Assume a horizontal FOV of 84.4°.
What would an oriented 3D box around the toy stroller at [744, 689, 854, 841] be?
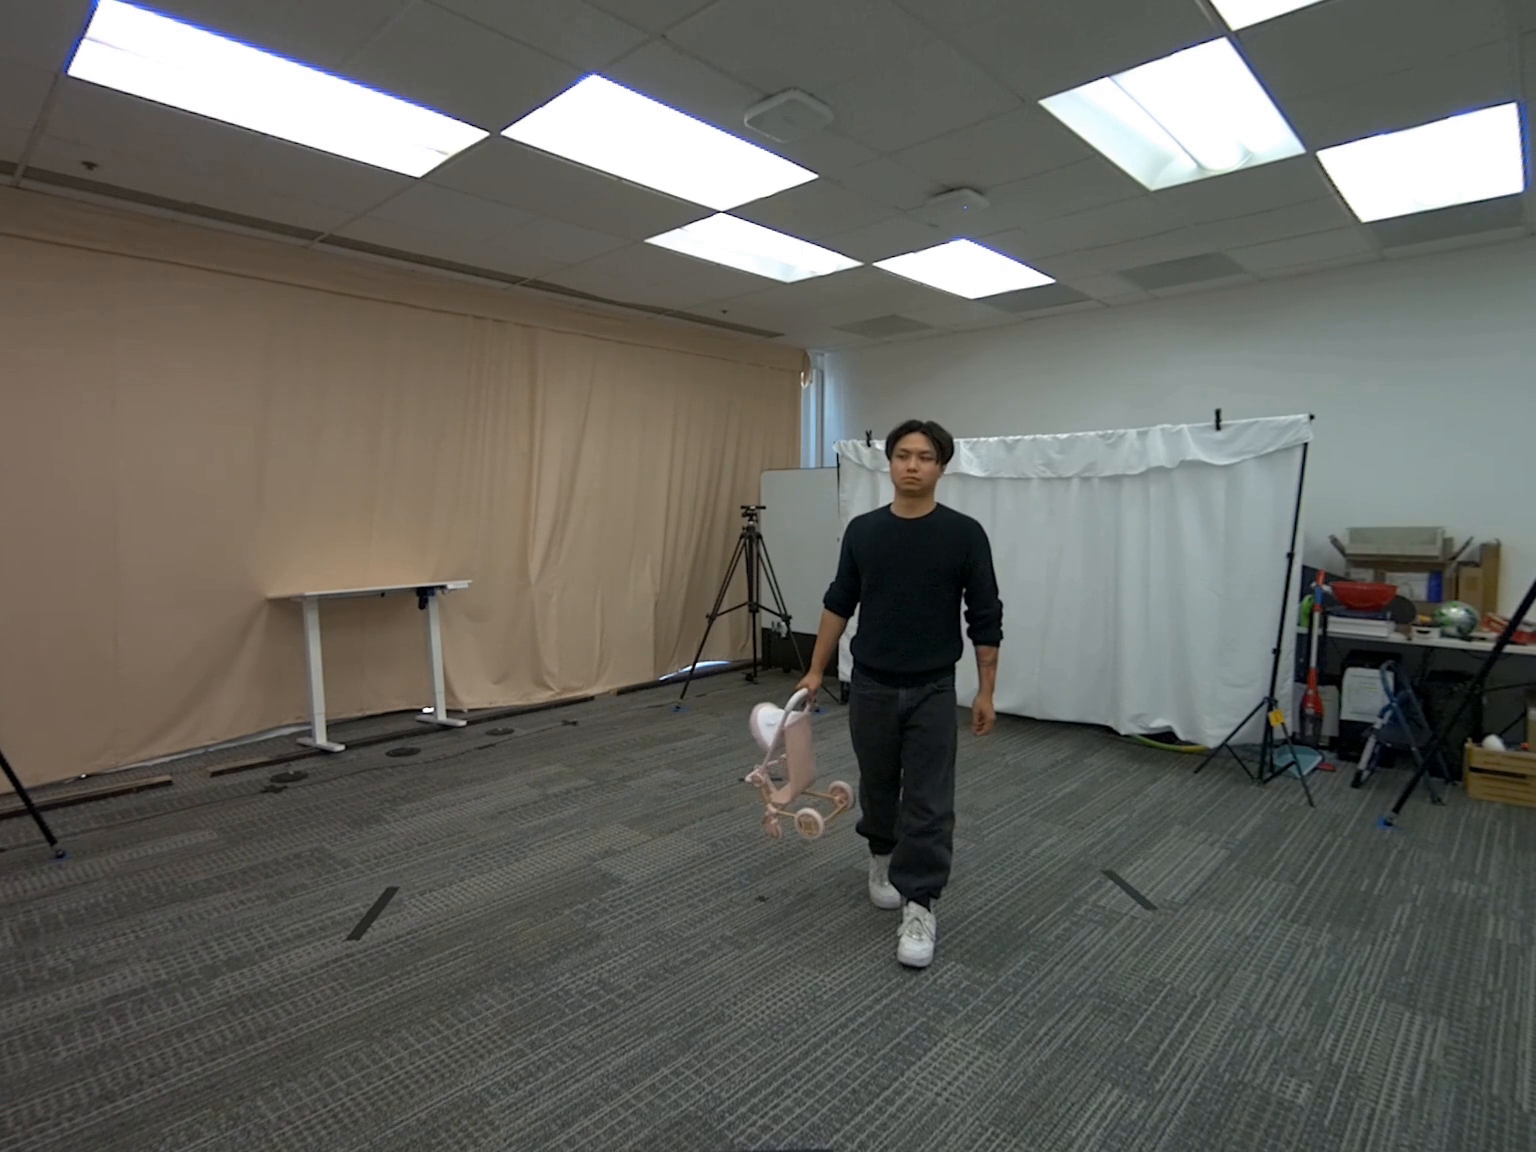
[{"bbox_3d":[0.080,0.681,2.979,0.350,0.535,0.274,-15,0,38],"label":"toy stroller"}]
